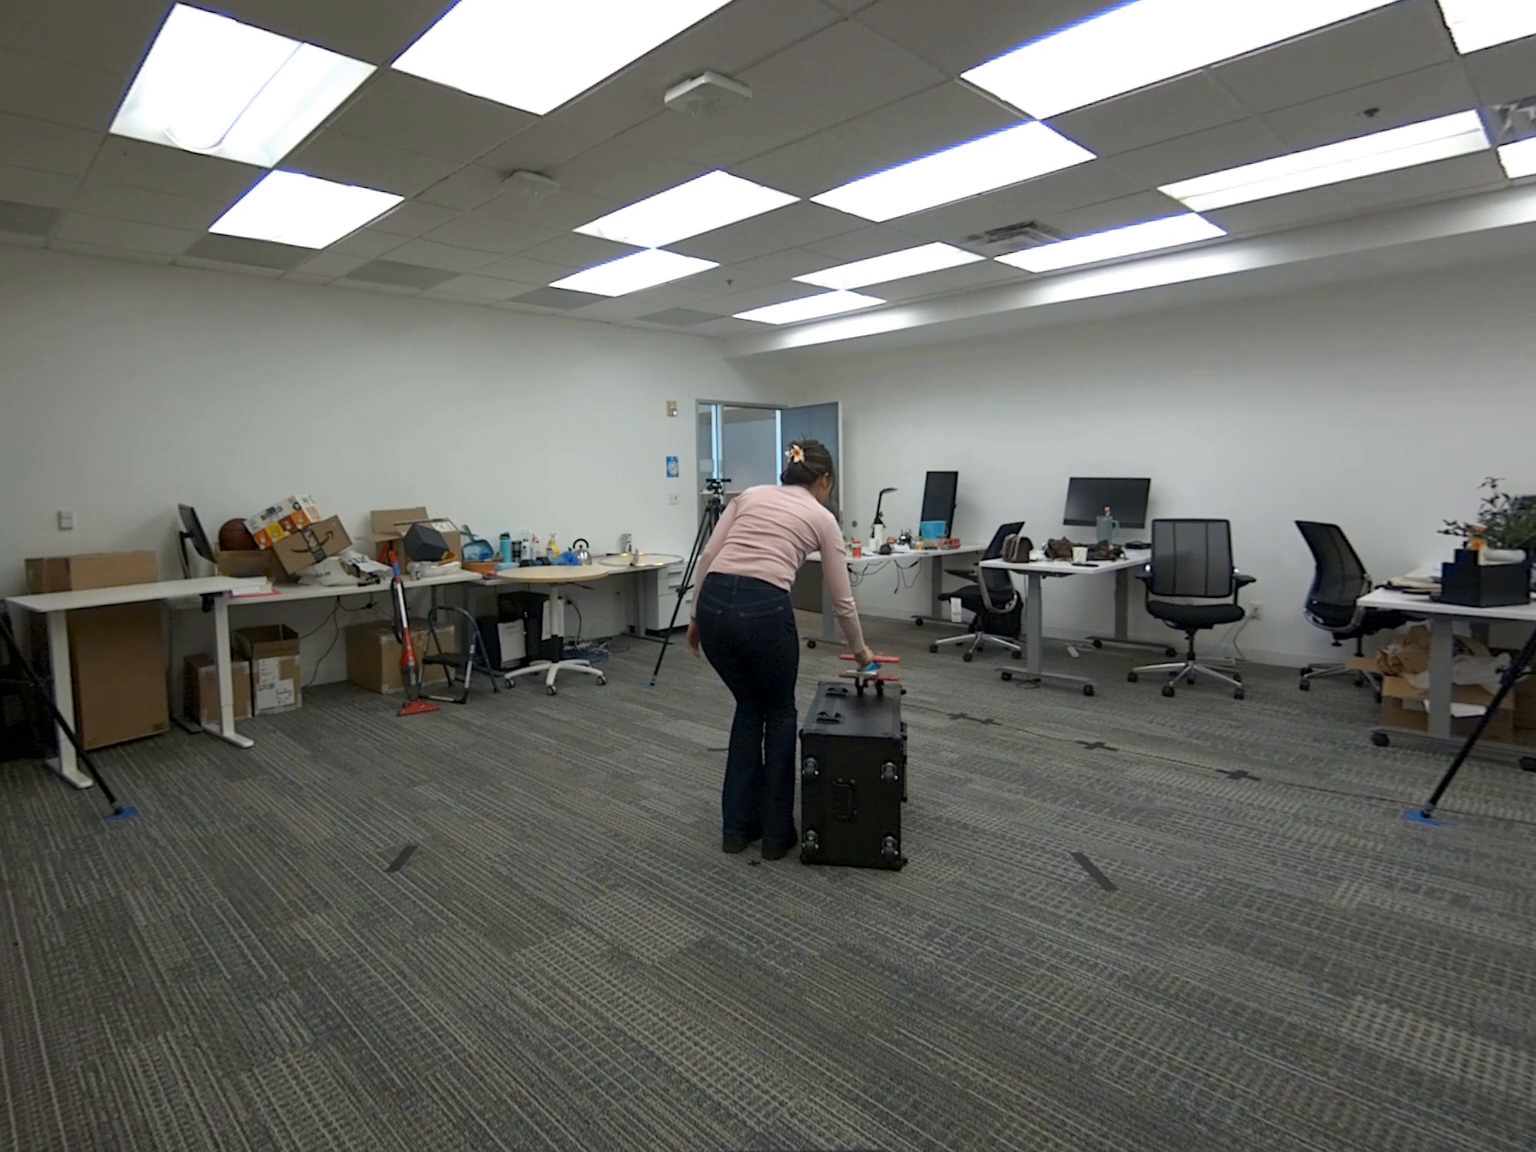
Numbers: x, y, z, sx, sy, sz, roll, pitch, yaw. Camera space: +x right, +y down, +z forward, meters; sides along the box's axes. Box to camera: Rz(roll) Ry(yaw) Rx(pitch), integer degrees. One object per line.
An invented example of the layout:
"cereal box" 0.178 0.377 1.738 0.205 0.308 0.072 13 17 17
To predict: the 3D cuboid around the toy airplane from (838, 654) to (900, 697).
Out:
"toy airplane" 0.435 0.400 3.569 0.249 0.158 0.258 8 -14 -7
